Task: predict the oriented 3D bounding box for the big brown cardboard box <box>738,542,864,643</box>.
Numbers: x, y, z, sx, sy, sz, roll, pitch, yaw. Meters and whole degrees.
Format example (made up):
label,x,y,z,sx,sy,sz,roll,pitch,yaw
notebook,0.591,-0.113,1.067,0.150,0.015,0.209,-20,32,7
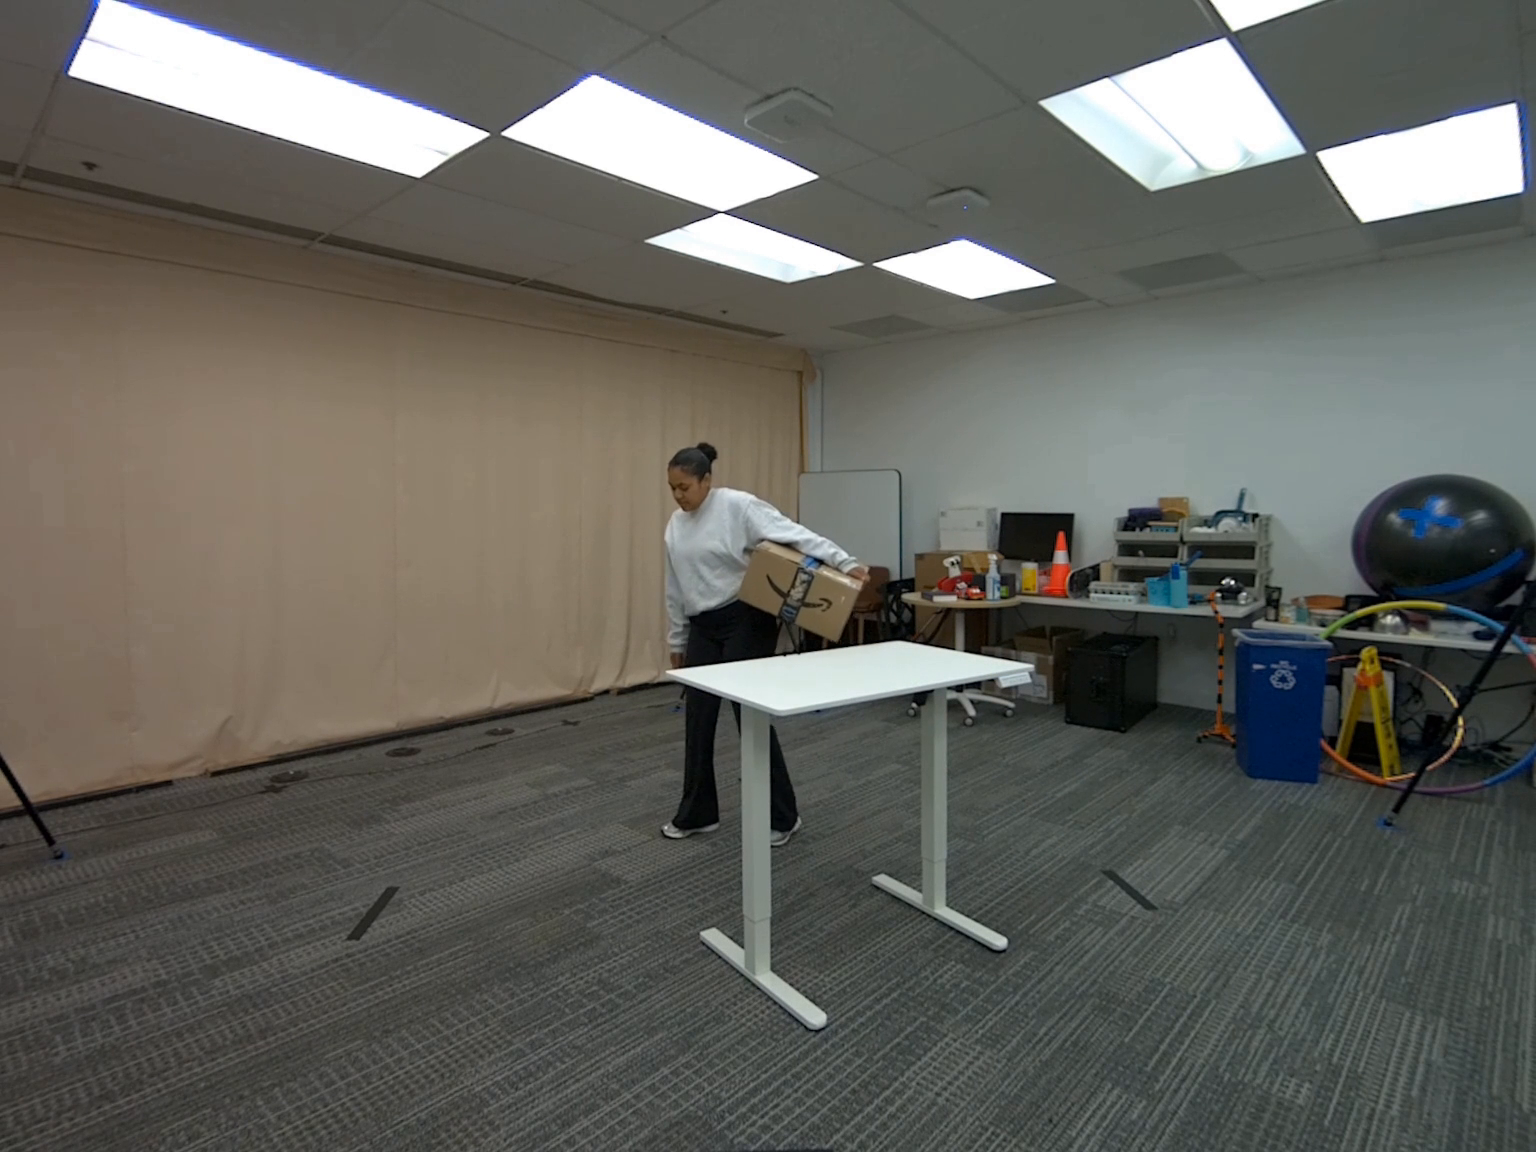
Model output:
label,x,y,z,sx,sy,sz,roll,pitch,yaw
big brown cardboard box,0.174,0.026,3.397,0.423,0.232,0.583,23,11,9
